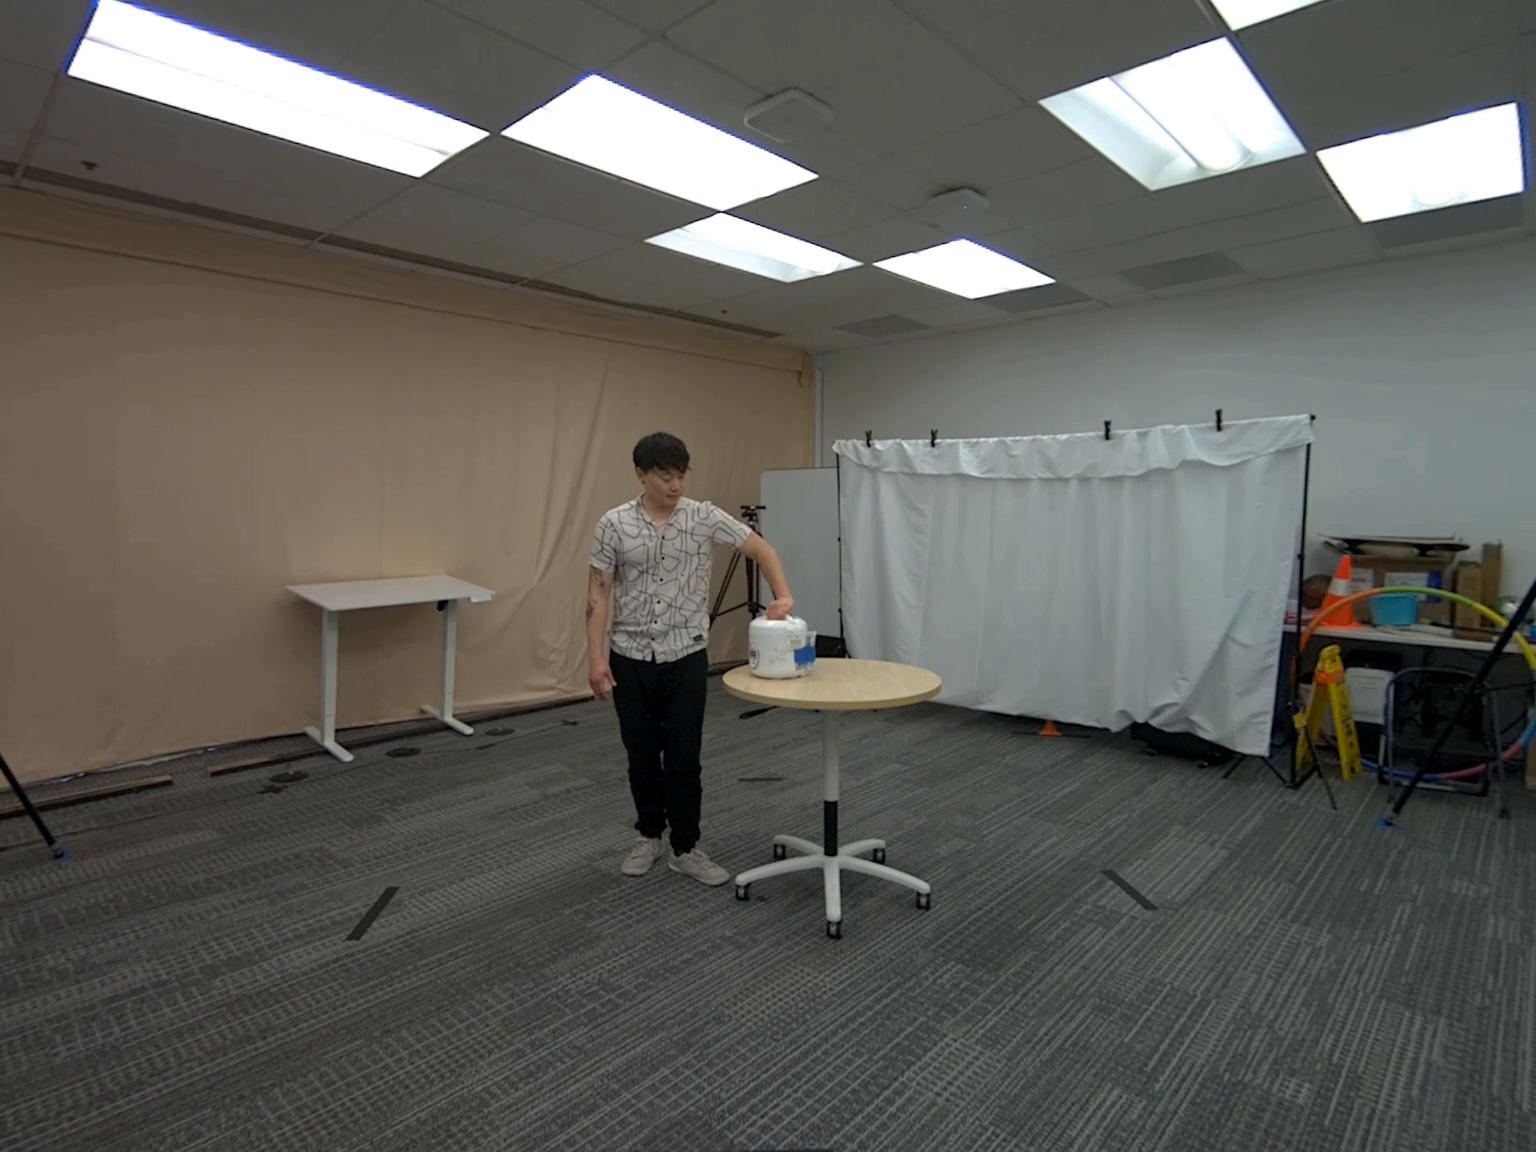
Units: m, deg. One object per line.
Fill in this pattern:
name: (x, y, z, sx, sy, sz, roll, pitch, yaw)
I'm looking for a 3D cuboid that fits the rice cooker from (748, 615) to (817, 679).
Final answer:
rice cooker: (0.041, 0.243, 3.035, 0.211, 0.232, 0.227, -1, 2, -33)
